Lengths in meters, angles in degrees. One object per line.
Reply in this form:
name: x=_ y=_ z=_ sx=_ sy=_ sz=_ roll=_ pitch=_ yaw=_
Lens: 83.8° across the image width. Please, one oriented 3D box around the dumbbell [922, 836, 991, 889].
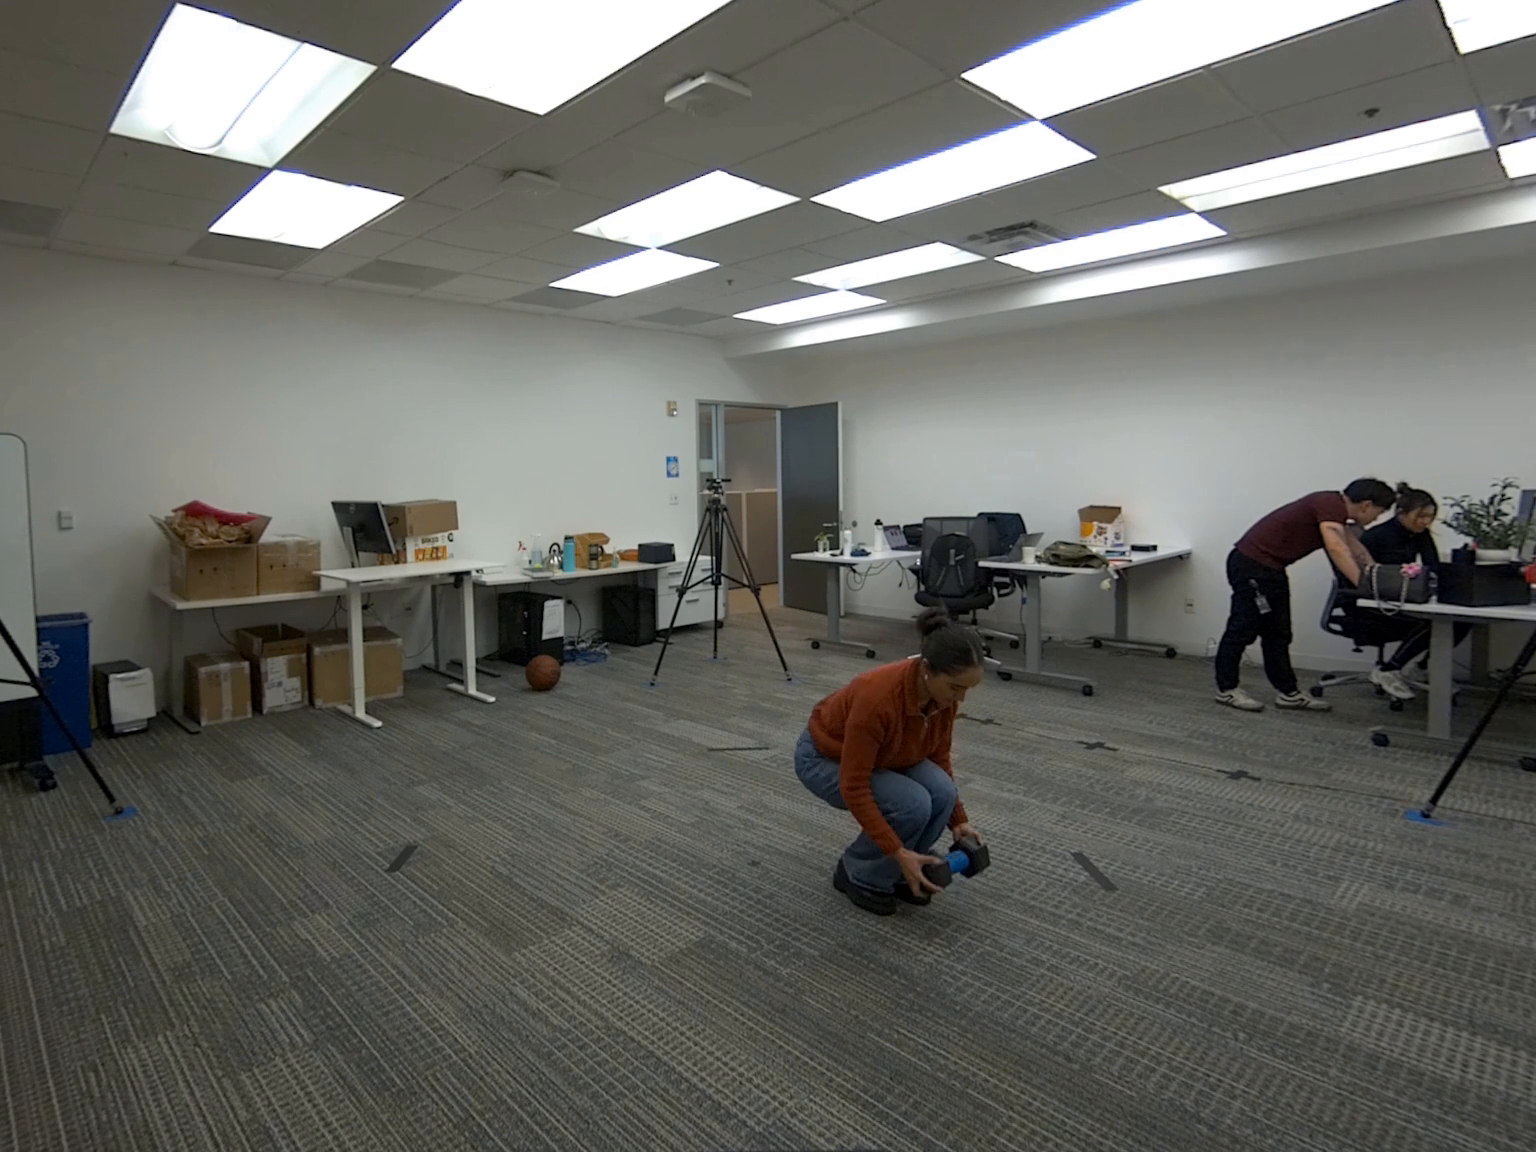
dumbbell: x=0.558 y=0.873 z=2.643 sx=0.285 sy=0.124 sz=0.111 roll=-3 pitch=-9 yaw=-41
